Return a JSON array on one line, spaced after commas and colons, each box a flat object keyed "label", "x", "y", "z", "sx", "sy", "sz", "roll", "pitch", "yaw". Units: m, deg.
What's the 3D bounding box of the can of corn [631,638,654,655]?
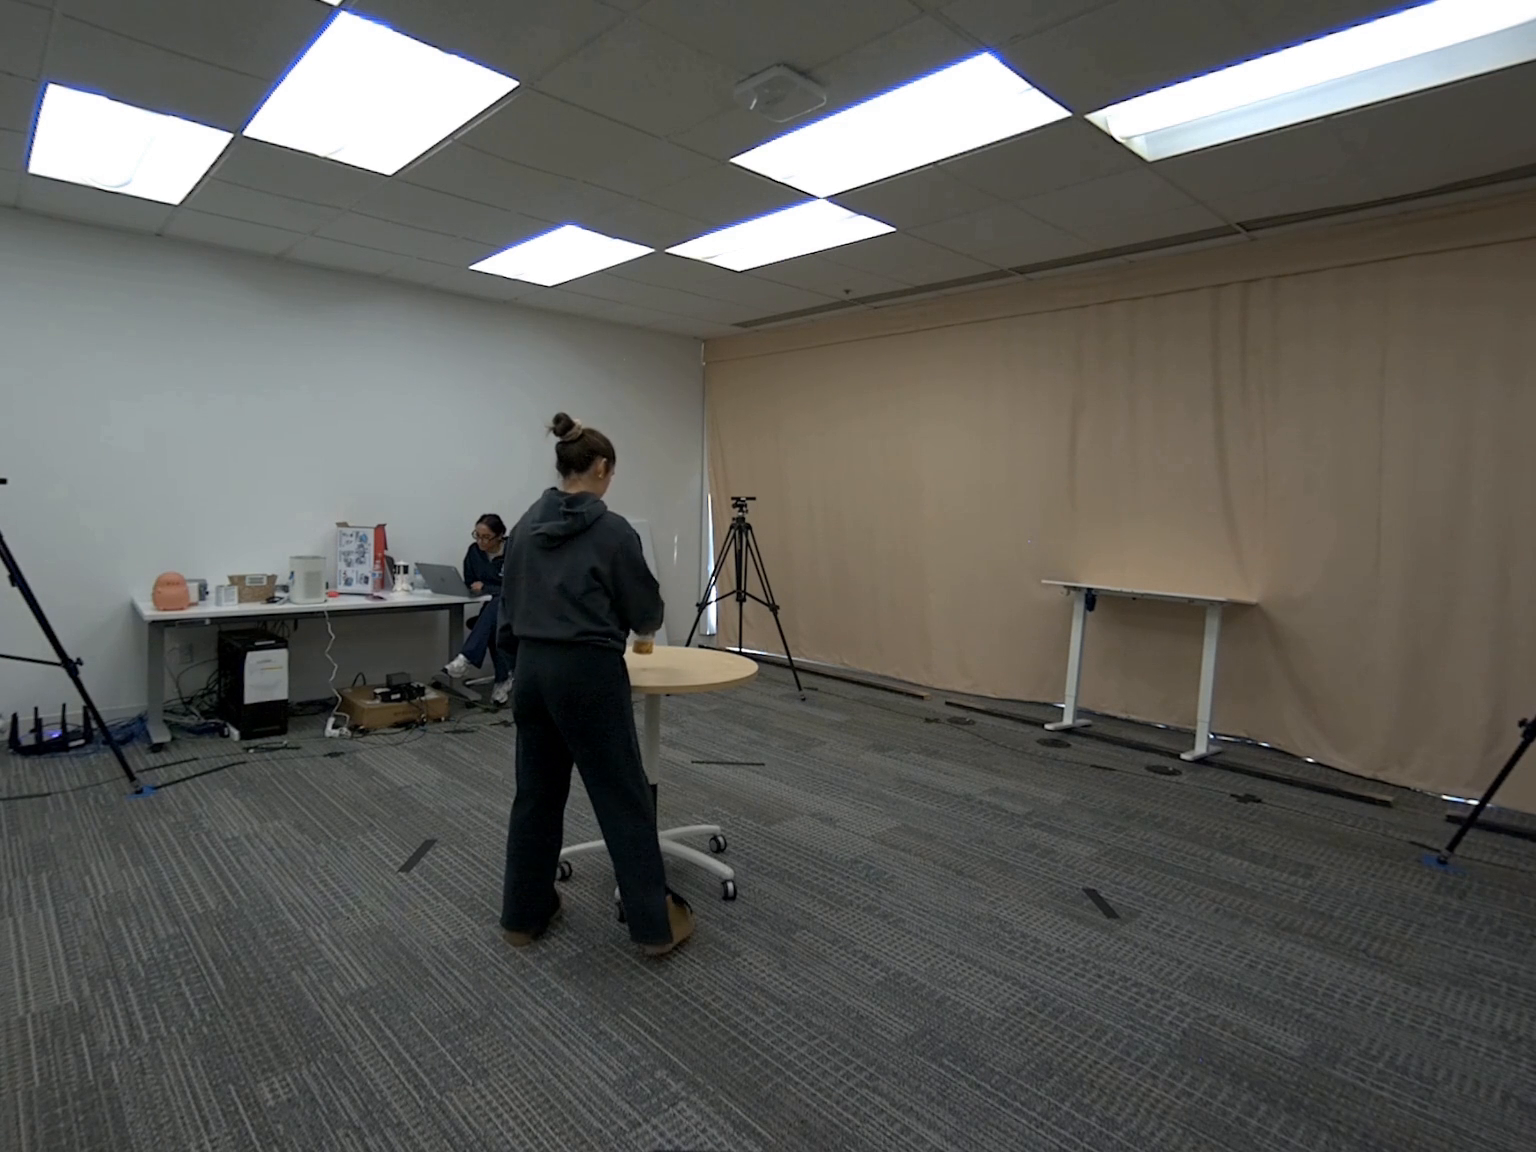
[{"label": "can of corn", "x": -0.455, "y": 0.228, "z": 2.954, "sx": 0.074, "sy": 0.111, "sz": 0.074, "roll": 2, "pitch": 5, "yaw": -2}]
